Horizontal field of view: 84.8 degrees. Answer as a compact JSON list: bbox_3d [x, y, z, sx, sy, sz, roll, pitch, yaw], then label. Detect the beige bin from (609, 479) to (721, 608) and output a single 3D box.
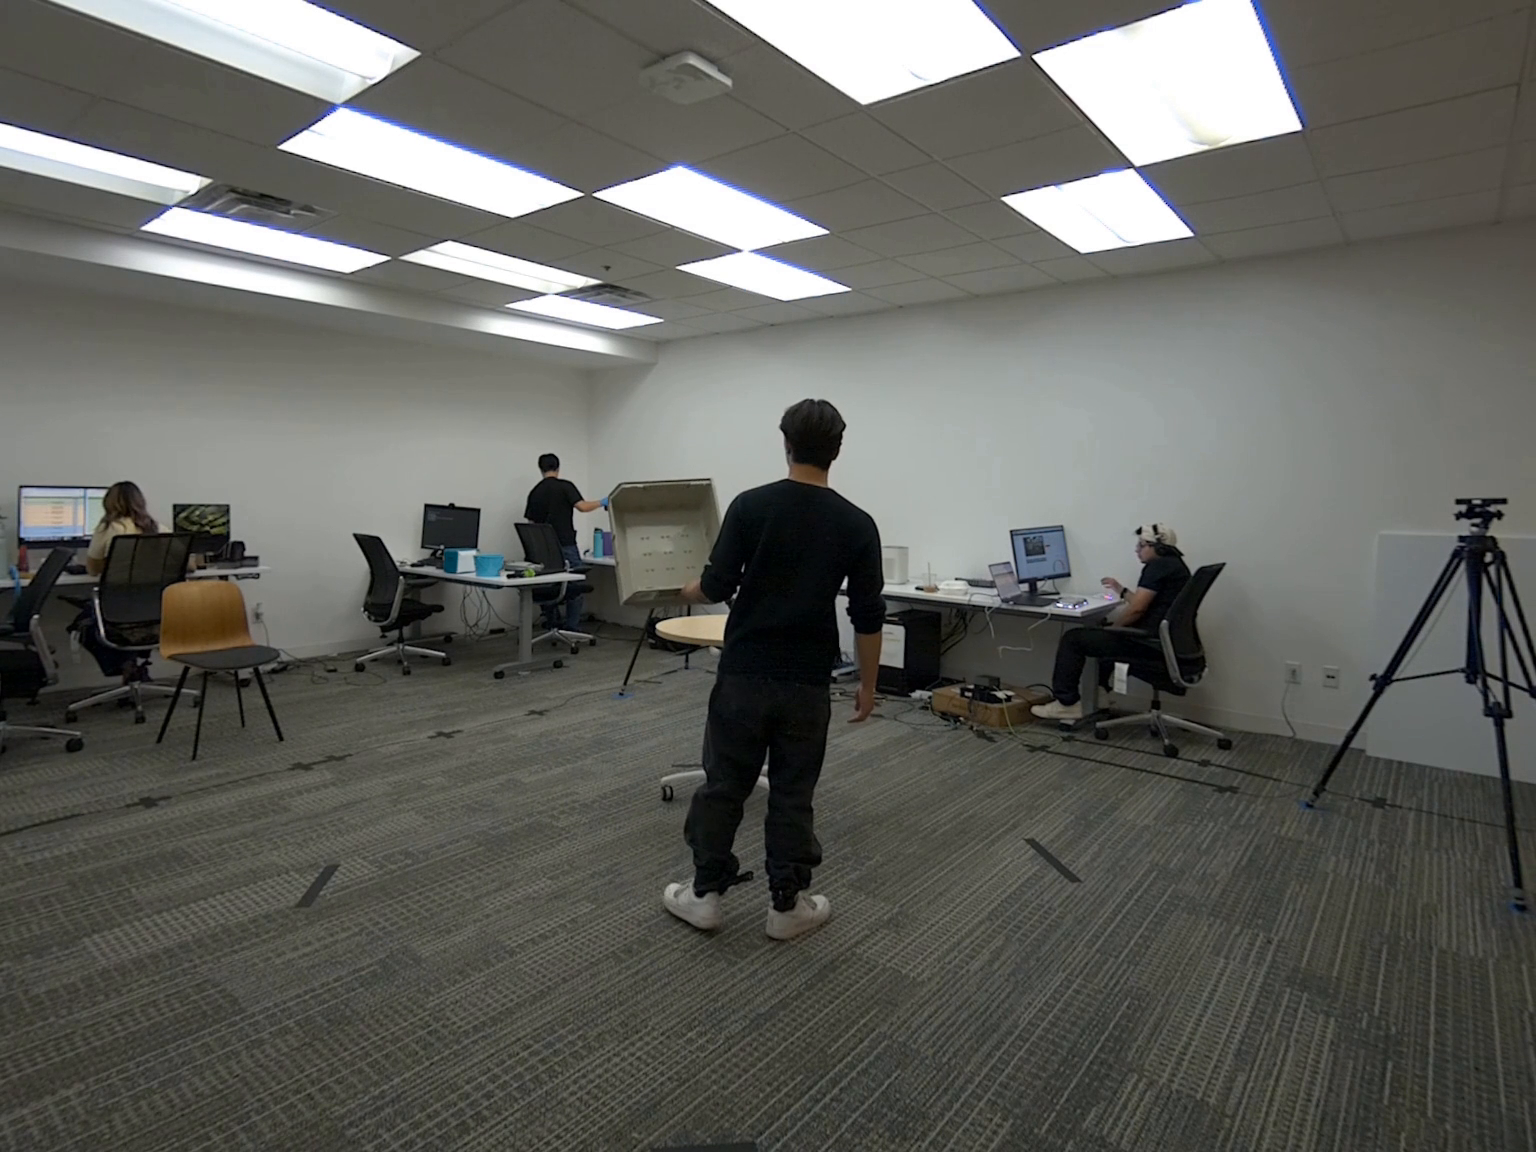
[{"bbox_3d":[-0.369,-0.119,3.032,0.371,0.434,0.187,-4,-26,-17],"label":"beige bin"}]
